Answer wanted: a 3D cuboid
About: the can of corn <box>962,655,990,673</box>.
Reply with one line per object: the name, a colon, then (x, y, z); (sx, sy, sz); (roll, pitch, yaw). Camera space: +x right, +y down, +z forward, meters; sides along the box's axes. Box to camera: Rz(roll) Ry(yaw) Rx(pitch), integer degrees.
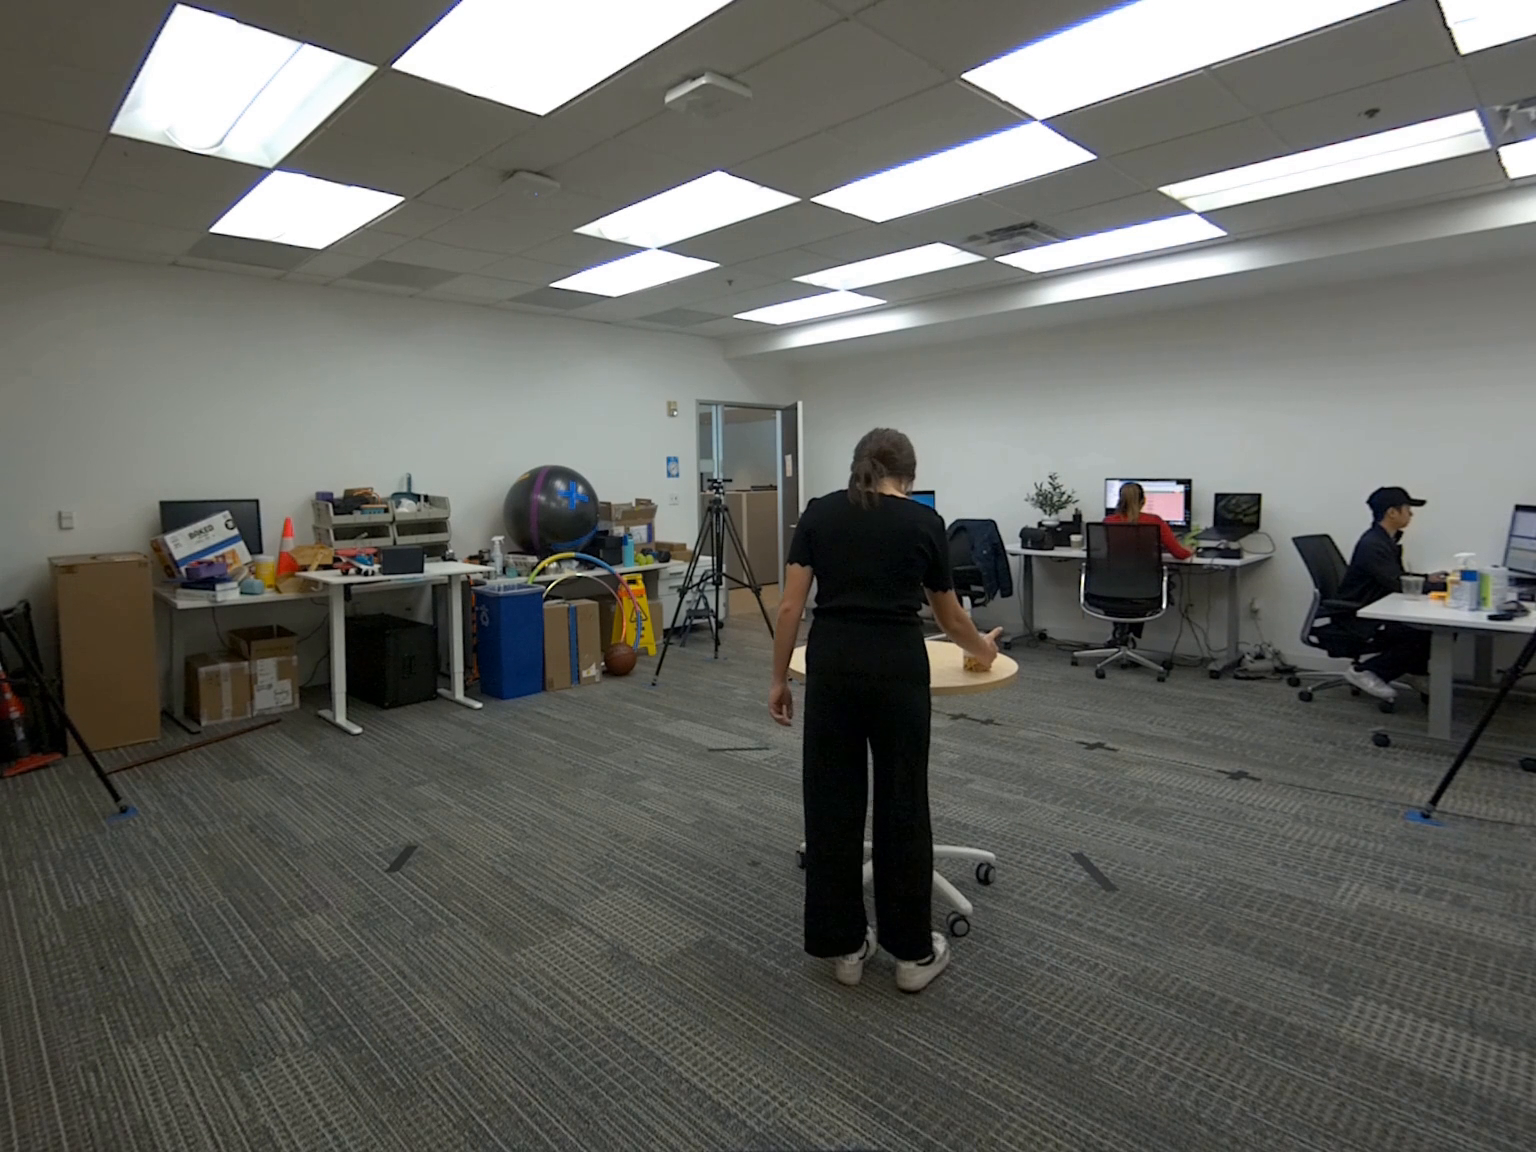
can of corn: (0.665, 0.240, 2.699); (0.074, 0.111, 0.074); (-1, 4, -2)
